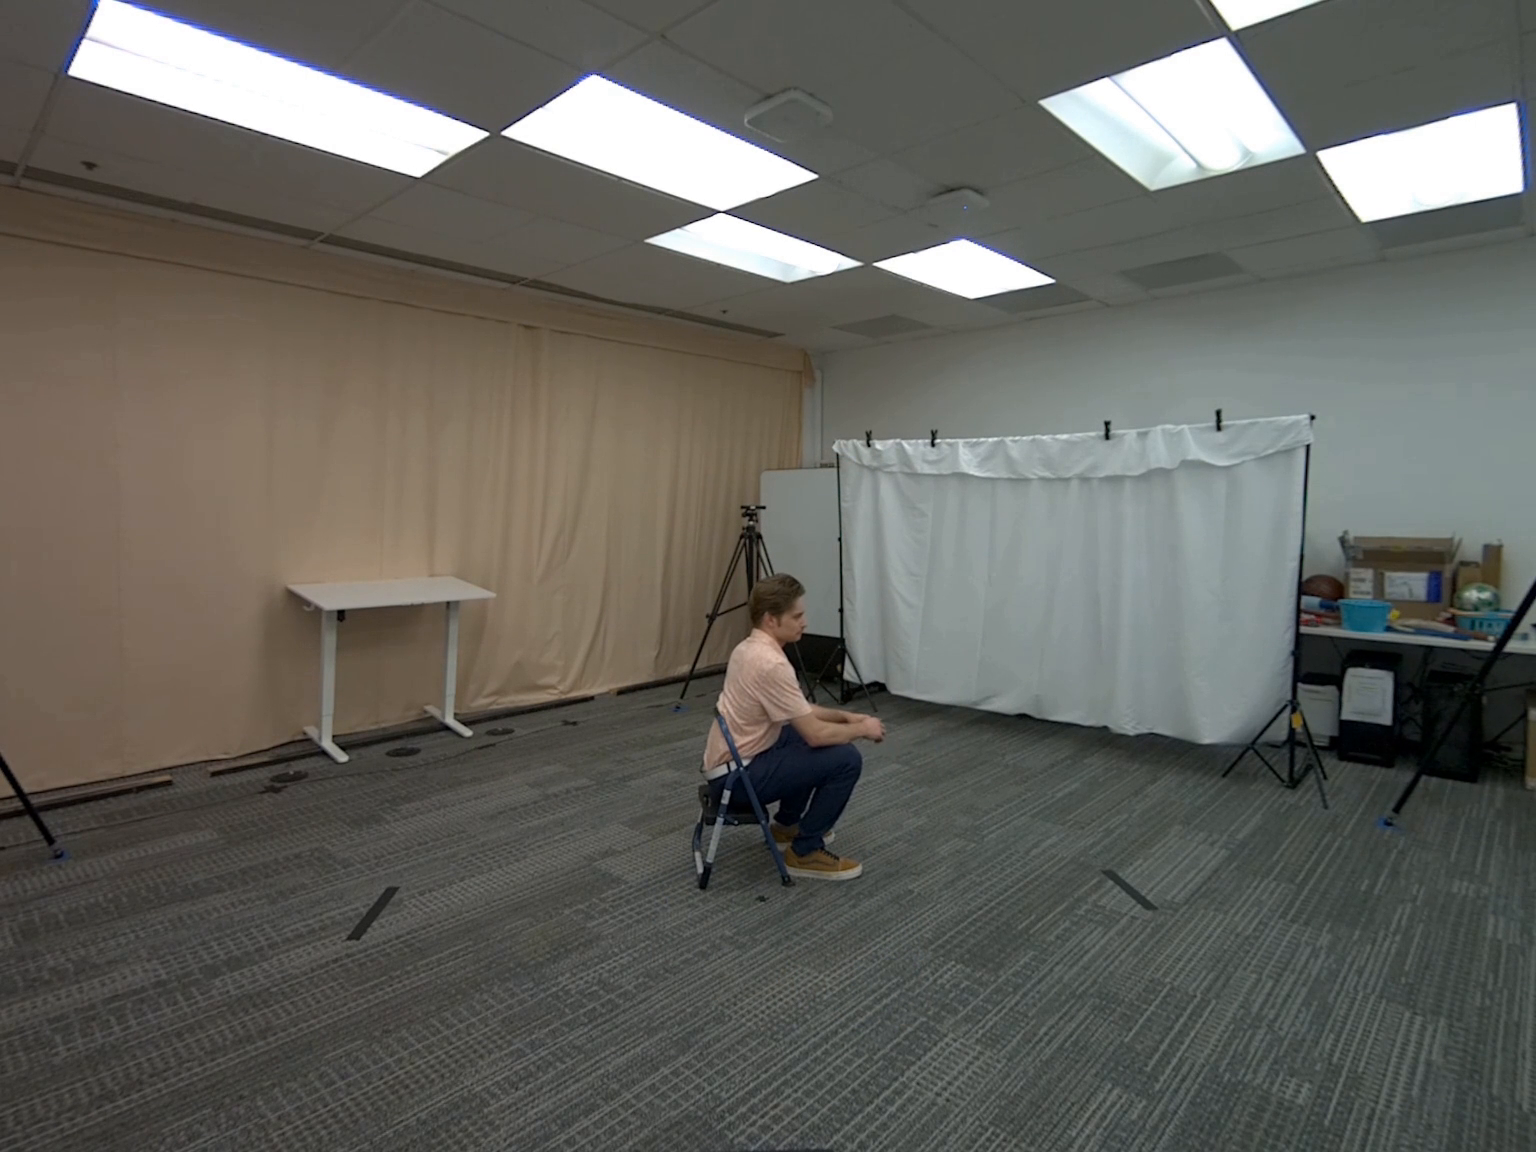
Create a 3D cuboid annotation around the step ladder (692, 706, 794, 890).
[{"bbox_3d":[-0.111,0.828,3.260,0.346,0.605,0.435,0,4,-8],"label":"step ladder"}]
